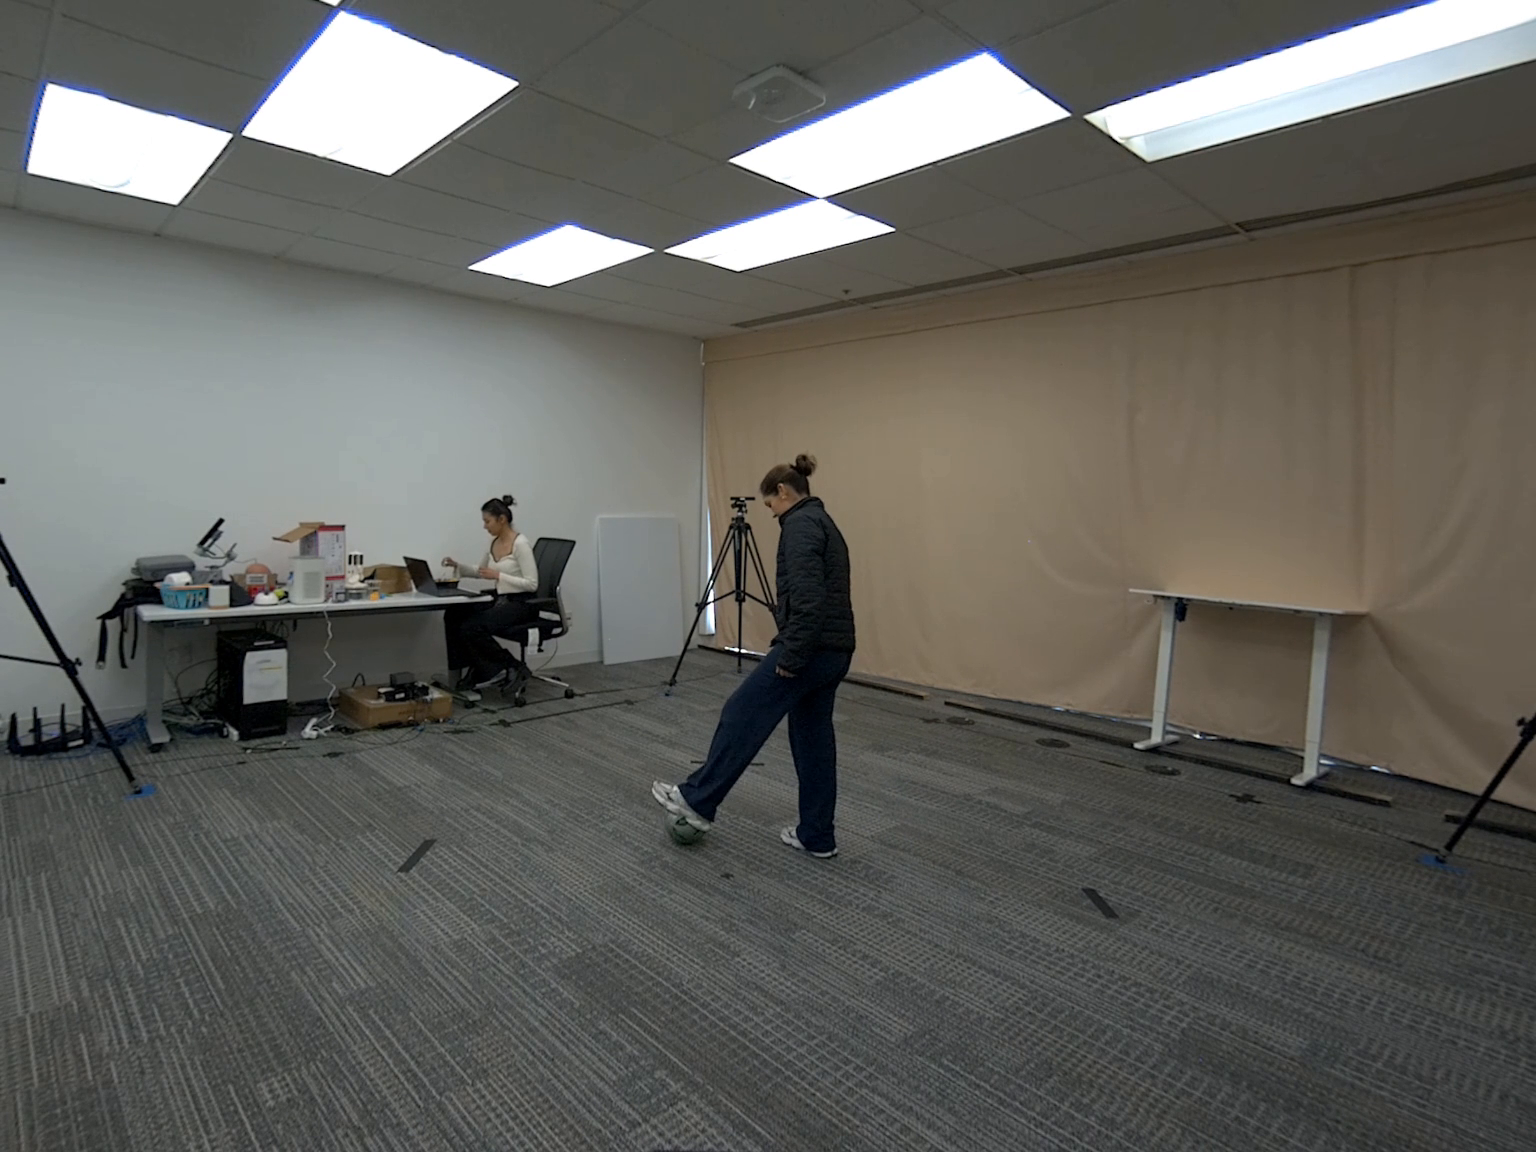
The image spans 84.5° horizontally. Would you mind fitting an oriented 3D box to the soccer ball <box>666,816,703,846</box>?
[{"bbox_3d":[-0.333,0.974,3.397,0.187,0.187,0.188,1,4,-1],"label":"soccer ball"}]
